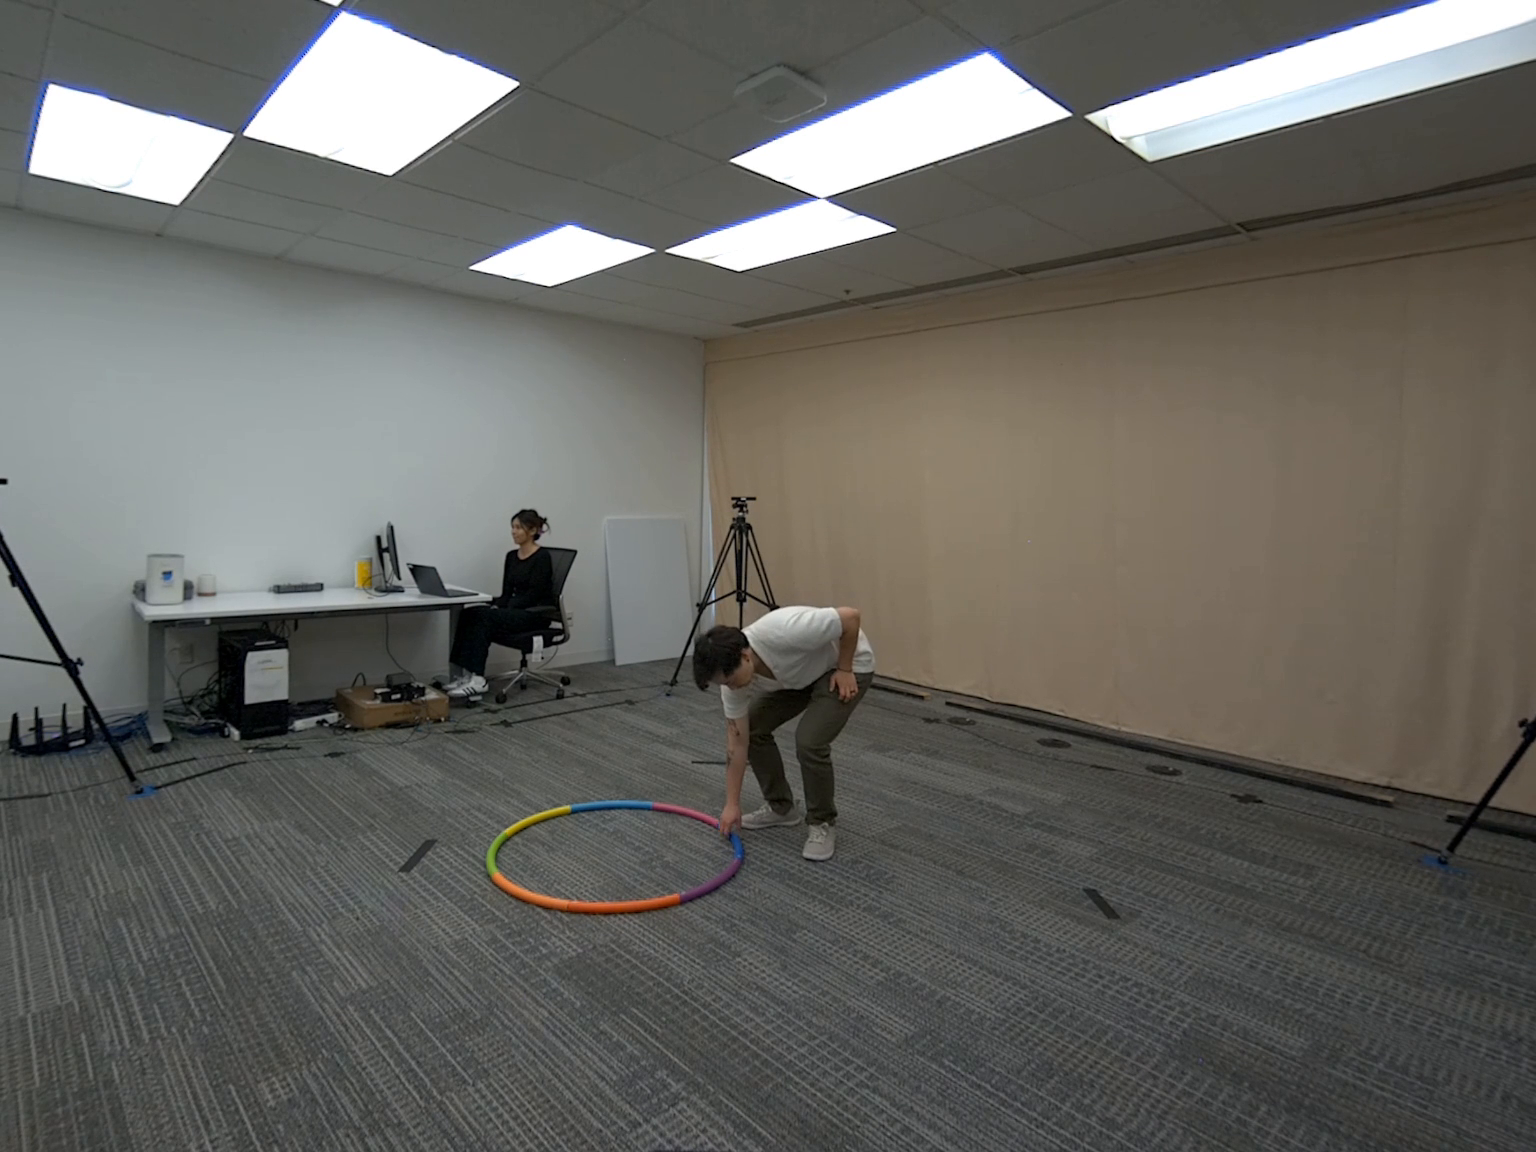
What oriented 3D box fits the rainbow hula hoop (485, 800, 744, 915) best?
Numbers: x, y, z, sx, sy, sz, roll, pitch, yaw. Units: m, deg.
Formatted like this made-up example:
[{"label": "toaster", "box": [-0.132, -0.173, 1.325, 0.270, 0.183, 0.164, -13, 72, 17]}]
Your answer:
[{"label": "rainbow hula hoop", "box": [-0.589, 1.049, 3.274, 0.978, 0.035, 0.982, 1, 5, -1]}]
